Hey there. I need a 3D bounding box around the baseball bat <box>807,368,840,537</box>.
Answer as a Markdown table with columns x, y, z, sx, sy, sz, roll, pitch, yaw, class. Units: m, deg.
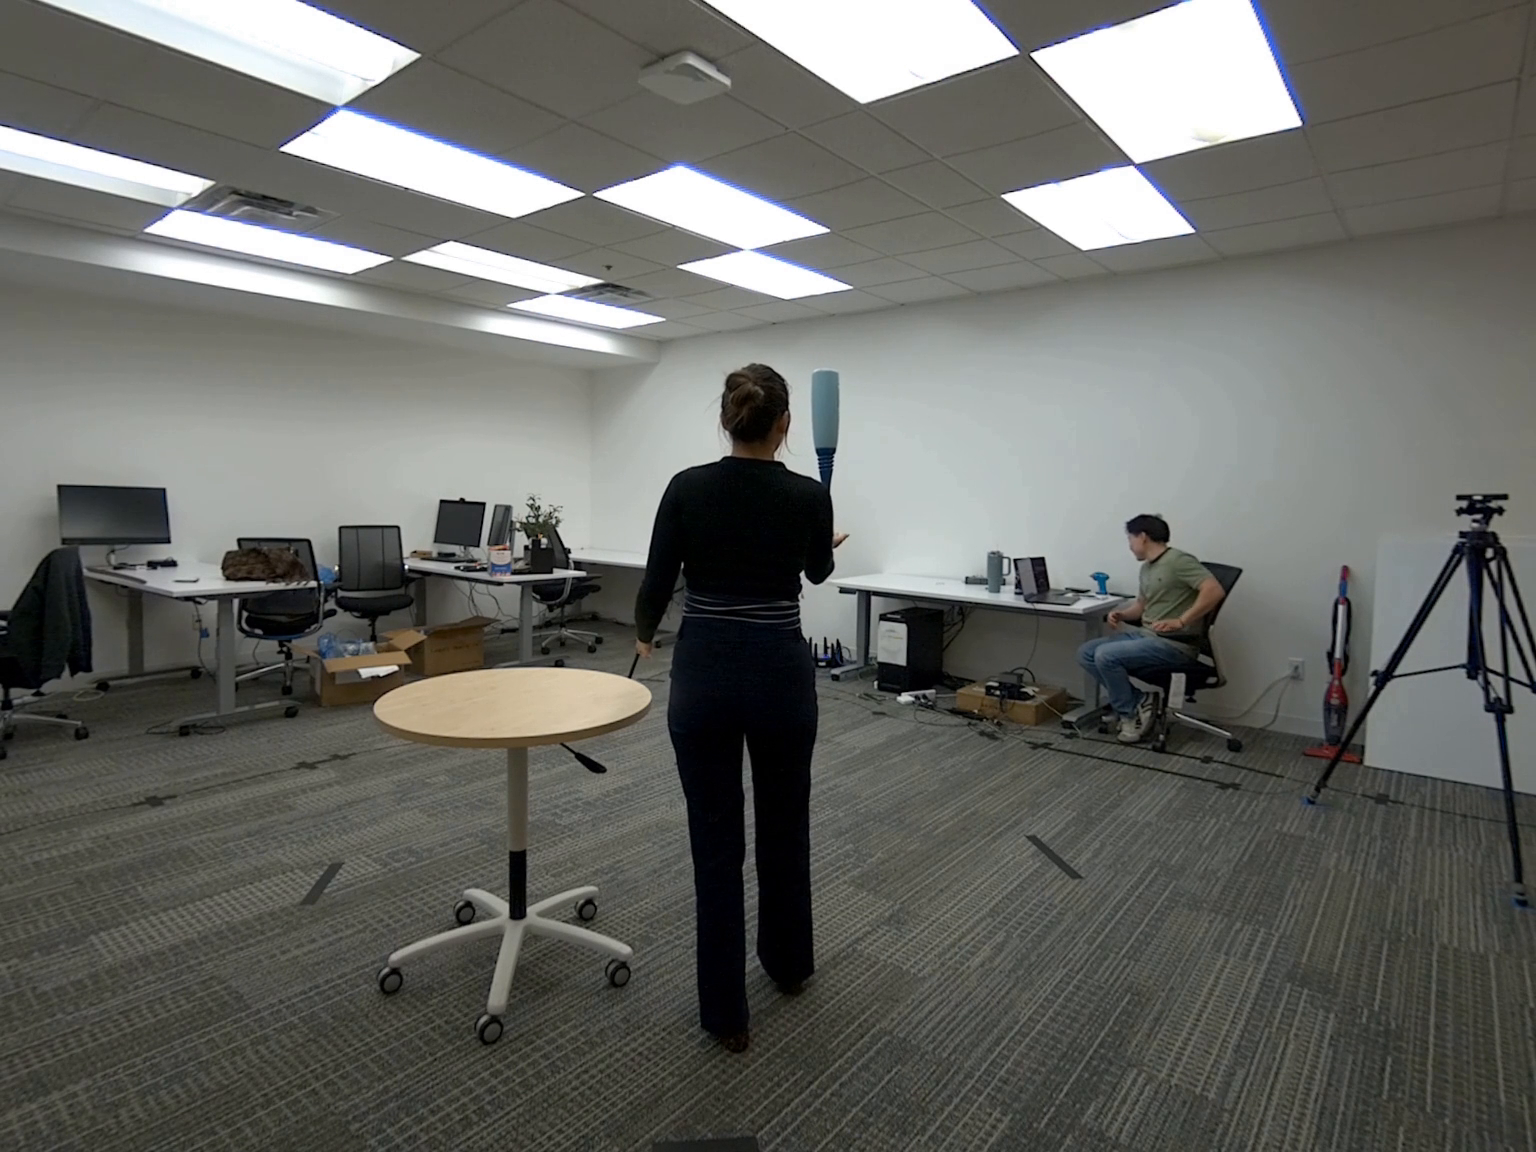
| x | y | z | sx | sy | sz | roll | pitch | yaw | class |
| --- | --- | --- | --- | --- | --- | --- | --- | --- | --- |
| 0.175 | -0.387 | 2.694 | 0.089 | 0.542 | 0.089 | 0 | 1 | -2 | baseball bat |
